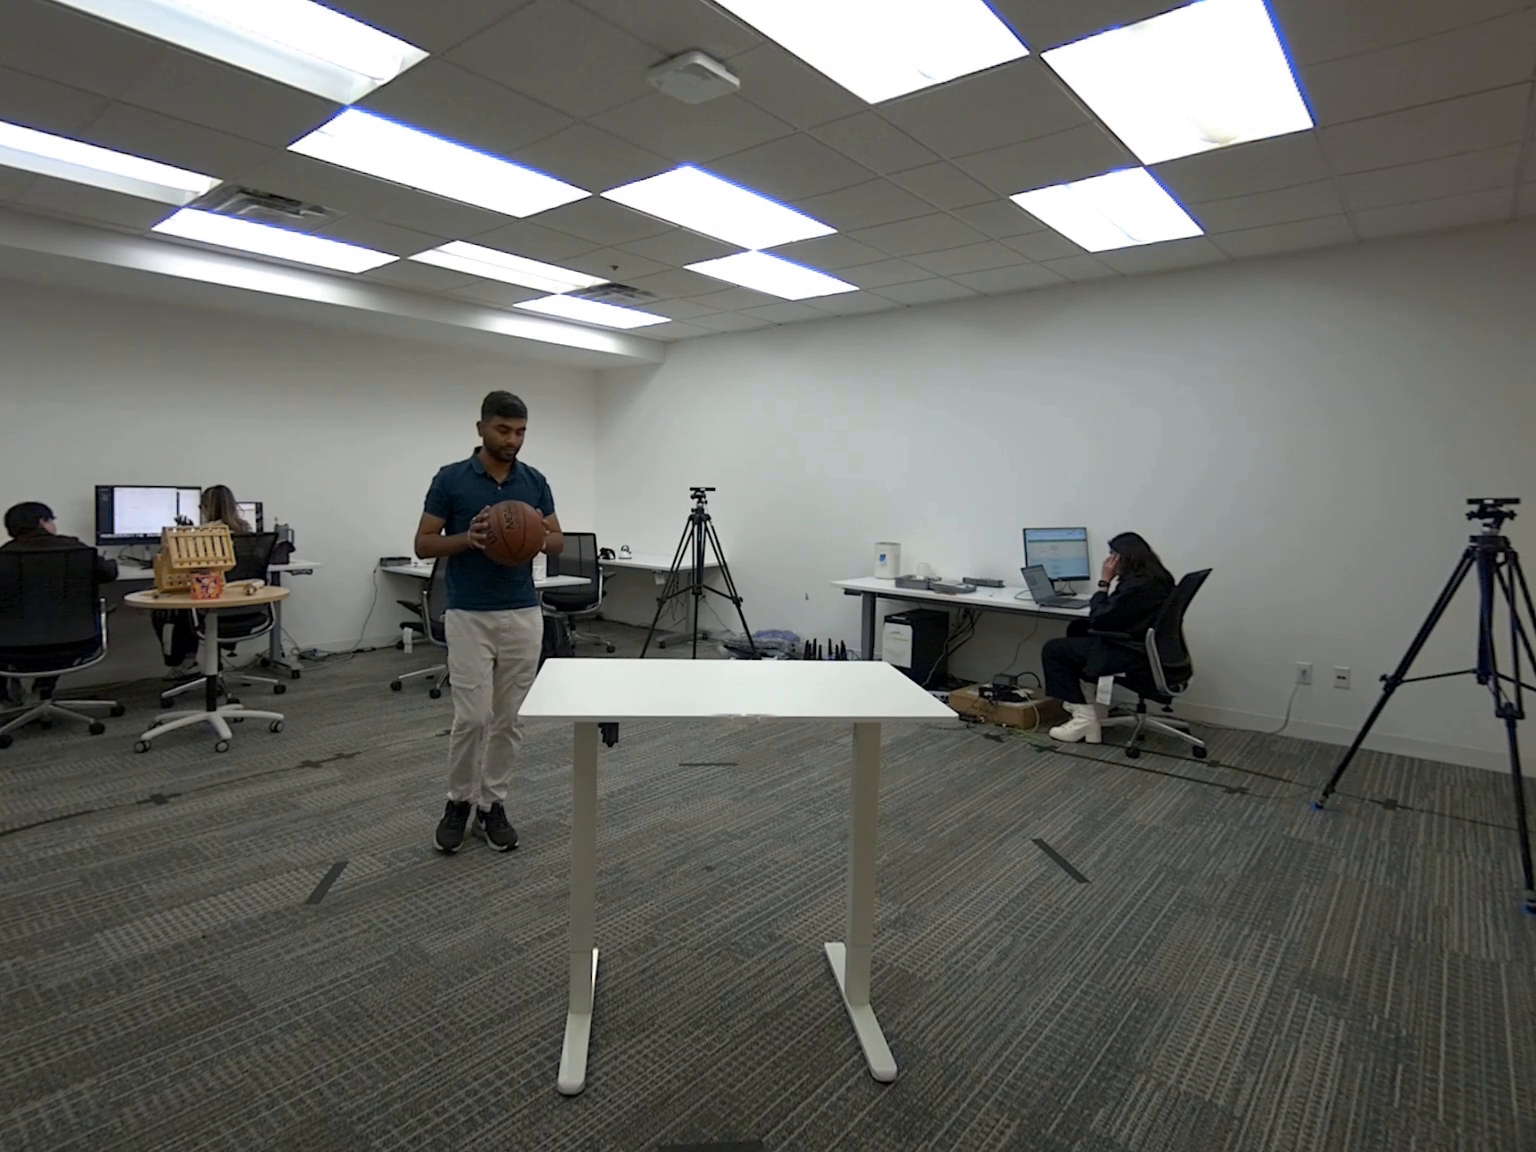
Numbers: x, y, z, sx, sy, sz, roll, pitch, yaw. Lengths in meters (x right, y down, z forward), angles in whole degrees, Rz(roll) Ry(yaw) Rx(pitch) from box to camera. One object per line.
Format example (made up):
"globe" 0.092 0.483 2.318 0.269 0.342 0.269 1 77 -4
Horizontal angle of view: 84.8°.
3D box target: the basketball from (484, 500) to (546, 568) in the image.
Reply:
"basketball" -0.938 -0.157 3.076 0.235 0.235 0.237 1 4 -2
